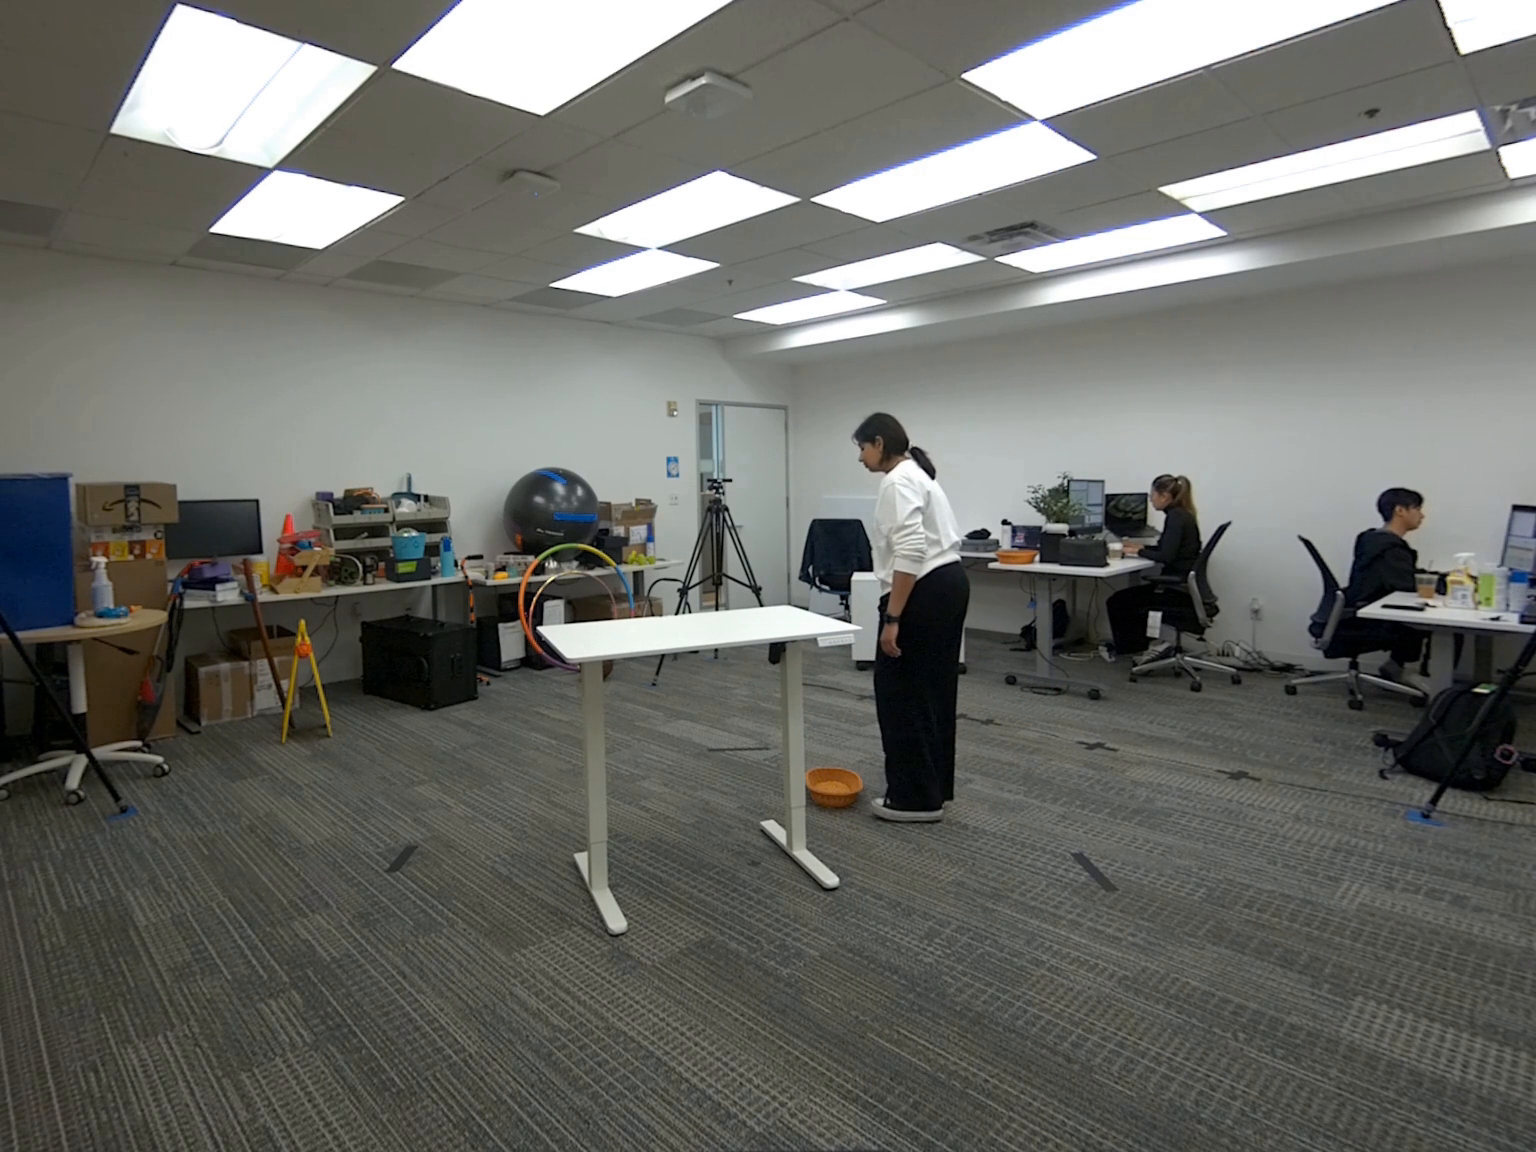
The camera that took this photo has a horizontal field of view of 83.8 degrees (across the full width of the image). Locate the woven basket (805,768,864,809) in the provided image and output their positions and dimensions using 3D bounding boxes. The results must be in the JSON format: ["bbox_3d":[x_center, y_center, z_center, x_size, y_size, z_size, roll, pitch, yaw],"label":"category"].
[{"bbox_3d":[0.287,0.927,3.763,0.254,0.073,0.350,1,6,4],"label":"woven basket"}]
